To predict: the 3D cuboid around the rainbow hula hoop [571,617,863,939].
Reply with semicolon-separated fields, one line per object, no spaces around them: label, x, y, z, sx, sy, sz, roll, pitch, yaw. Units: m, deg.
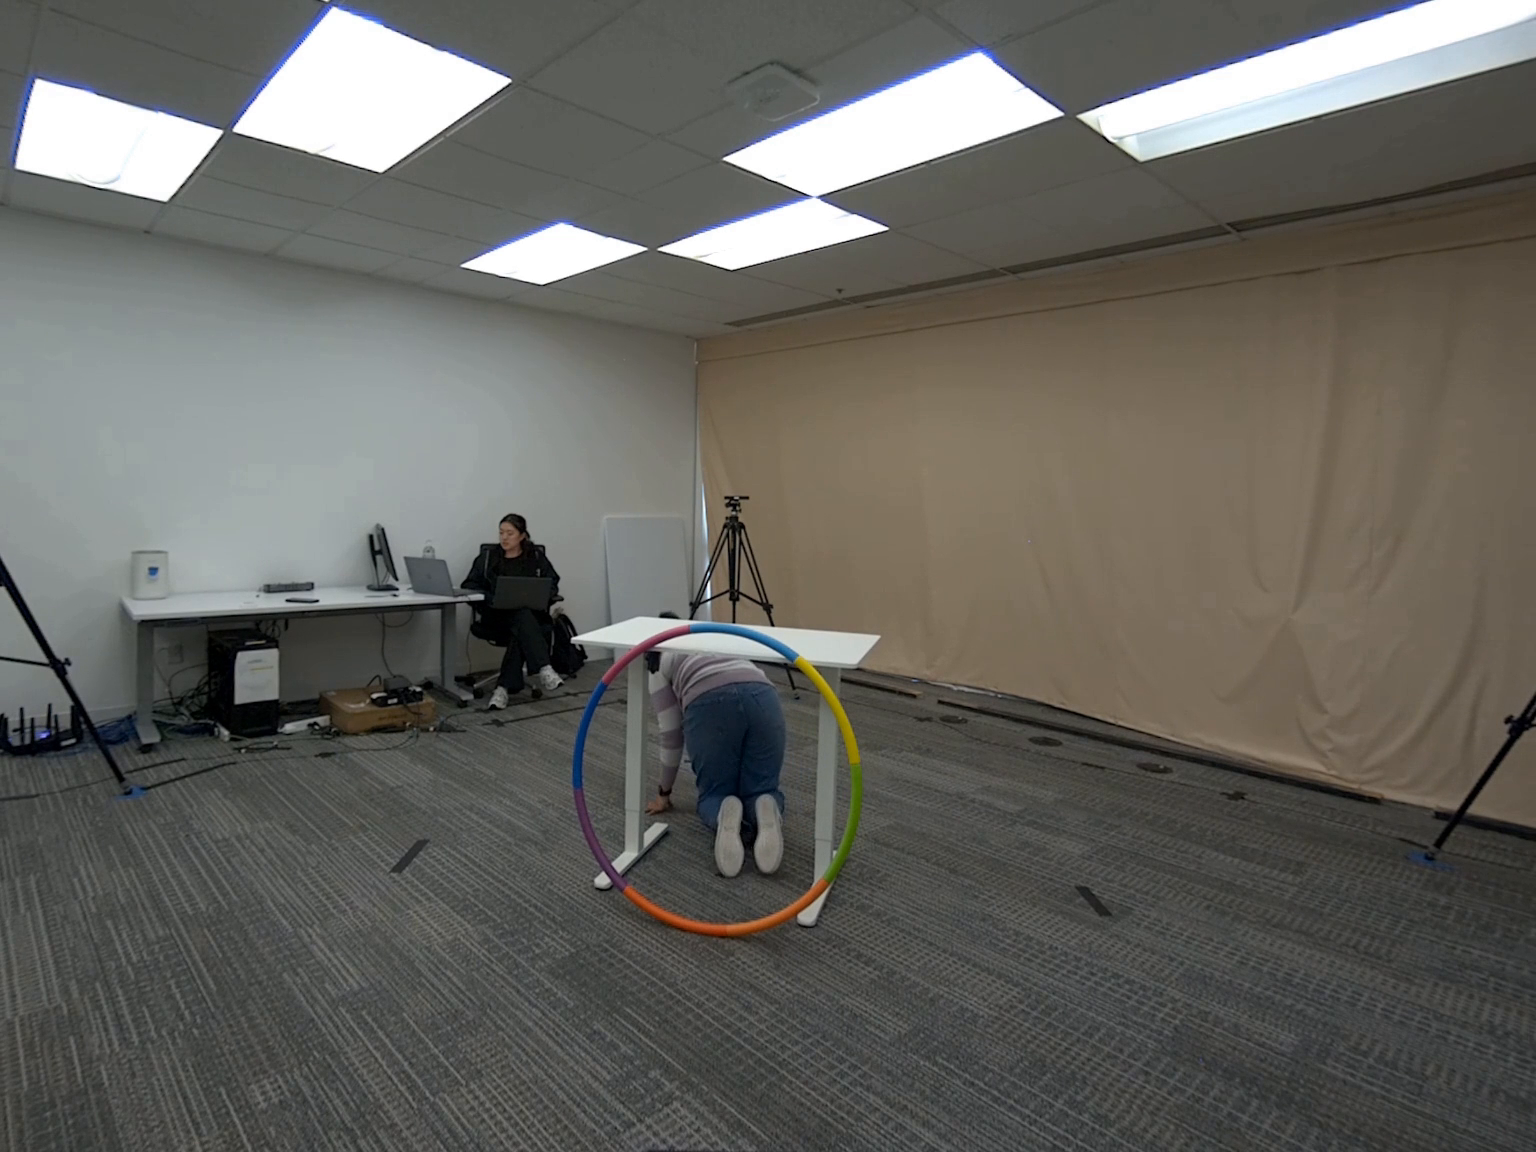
rainbow hula hoop;-0.194;0.657;2.717;0.992;0.981;0.035;3;-4;17
